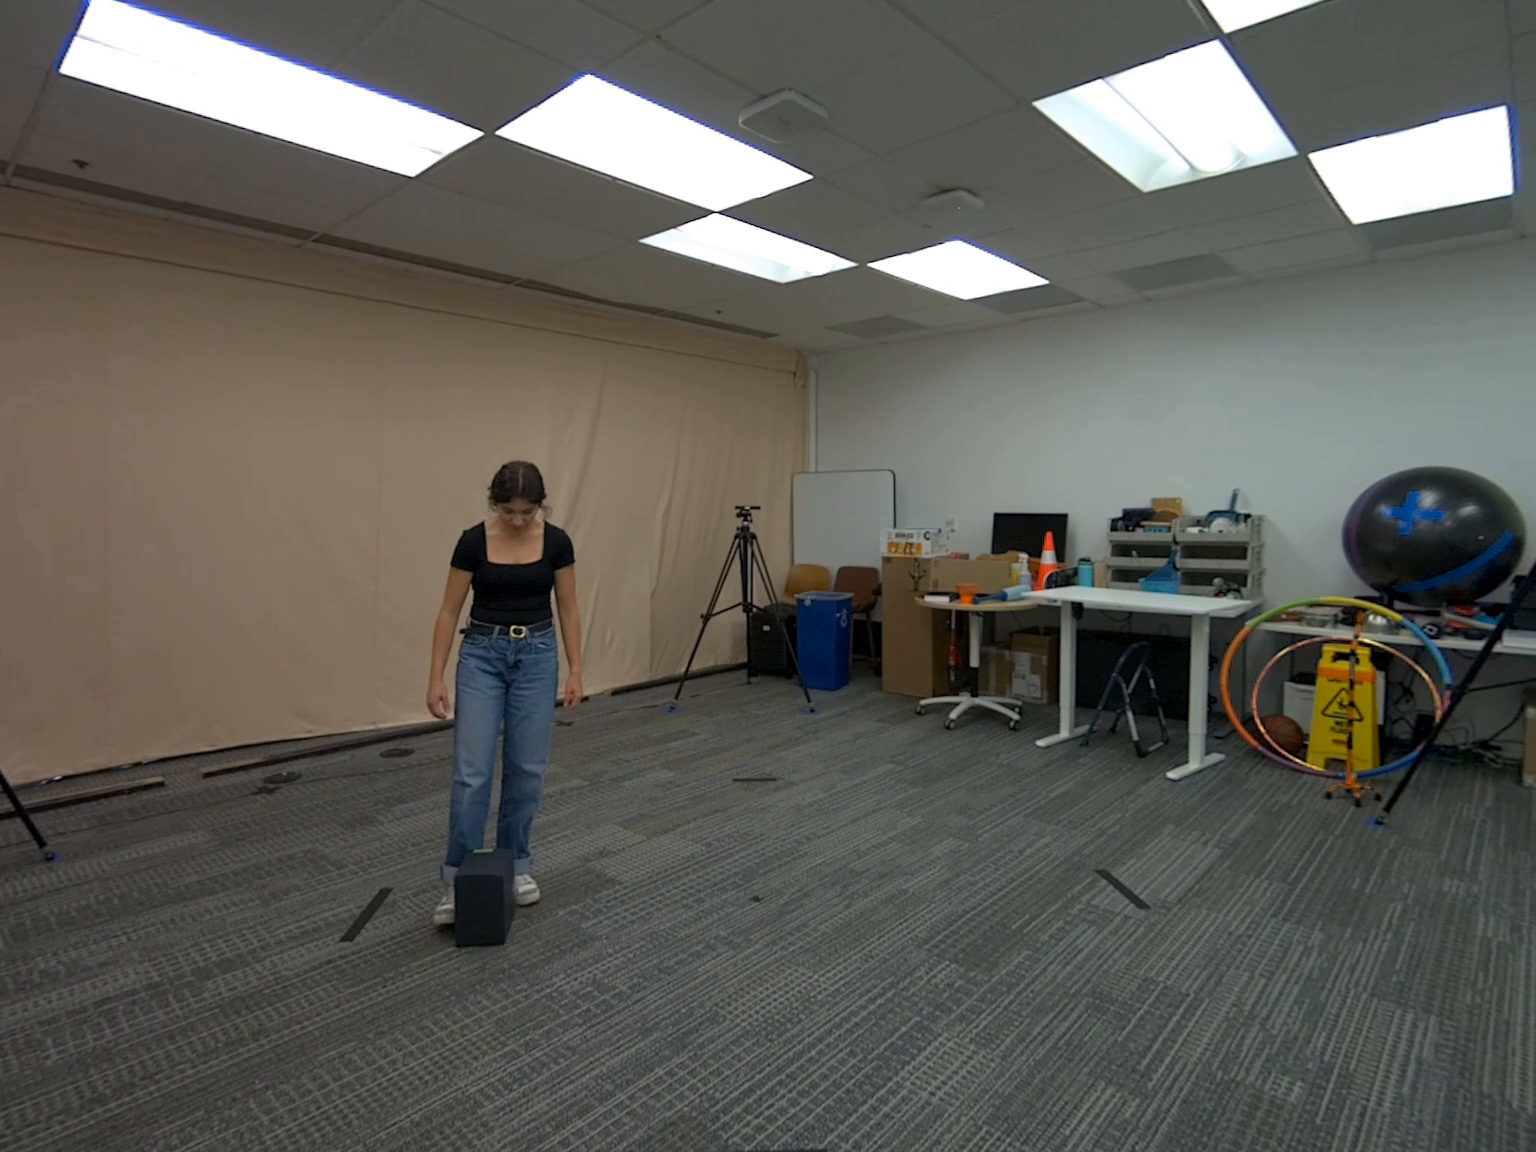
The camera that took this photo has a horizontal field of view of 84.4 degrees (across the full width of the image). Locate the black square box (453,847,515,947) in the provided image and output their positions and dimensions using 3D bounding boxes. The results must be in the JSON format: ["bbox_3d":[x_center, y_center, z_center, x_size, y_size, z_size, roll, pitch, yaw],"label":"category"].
[{"bbox_3d":[-0.922,1.048,2.767,0.155,0.227,0.218,0,3,-6],"label":"black square box"}]
